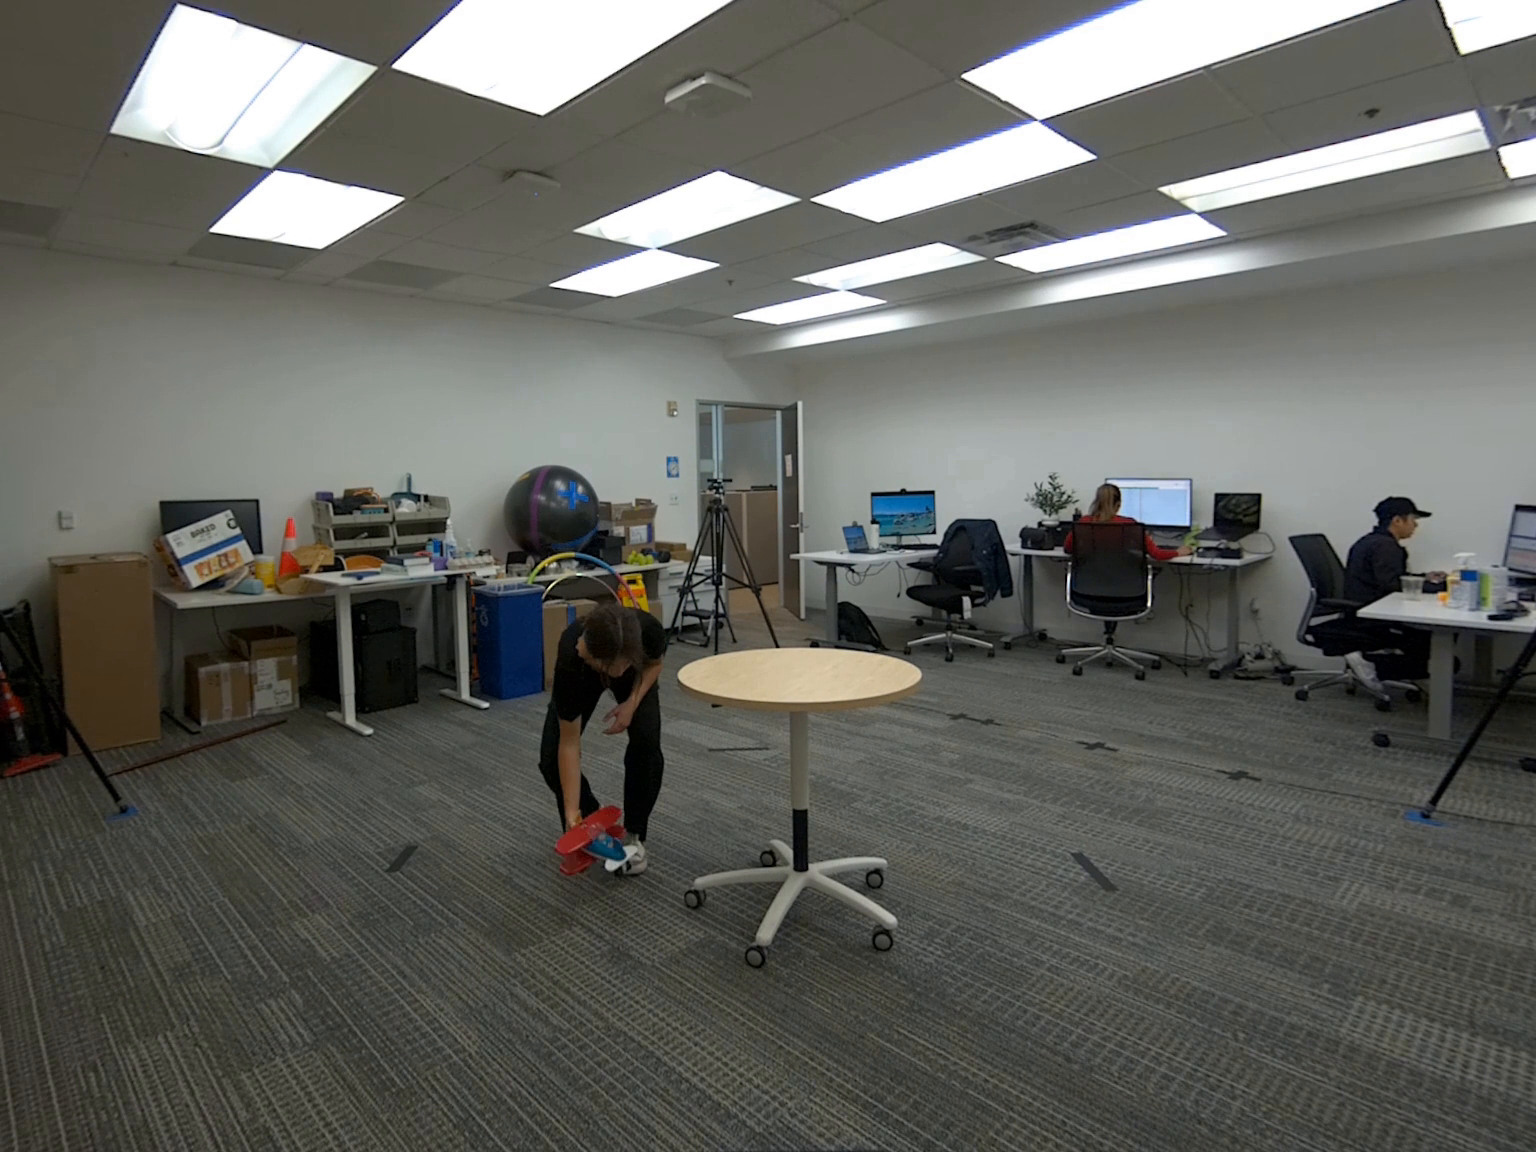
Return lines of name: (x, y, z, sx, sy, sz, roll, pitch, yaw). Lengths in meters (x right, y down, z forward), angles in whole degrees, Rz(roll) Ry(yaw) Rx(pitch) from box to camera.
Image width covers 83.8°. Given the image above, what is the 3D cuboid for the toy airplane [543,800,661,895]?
toy airplane: (-0.534, 0.866, 2.771, 0.263, 0.154, 0.251, -15, 12, 19)
